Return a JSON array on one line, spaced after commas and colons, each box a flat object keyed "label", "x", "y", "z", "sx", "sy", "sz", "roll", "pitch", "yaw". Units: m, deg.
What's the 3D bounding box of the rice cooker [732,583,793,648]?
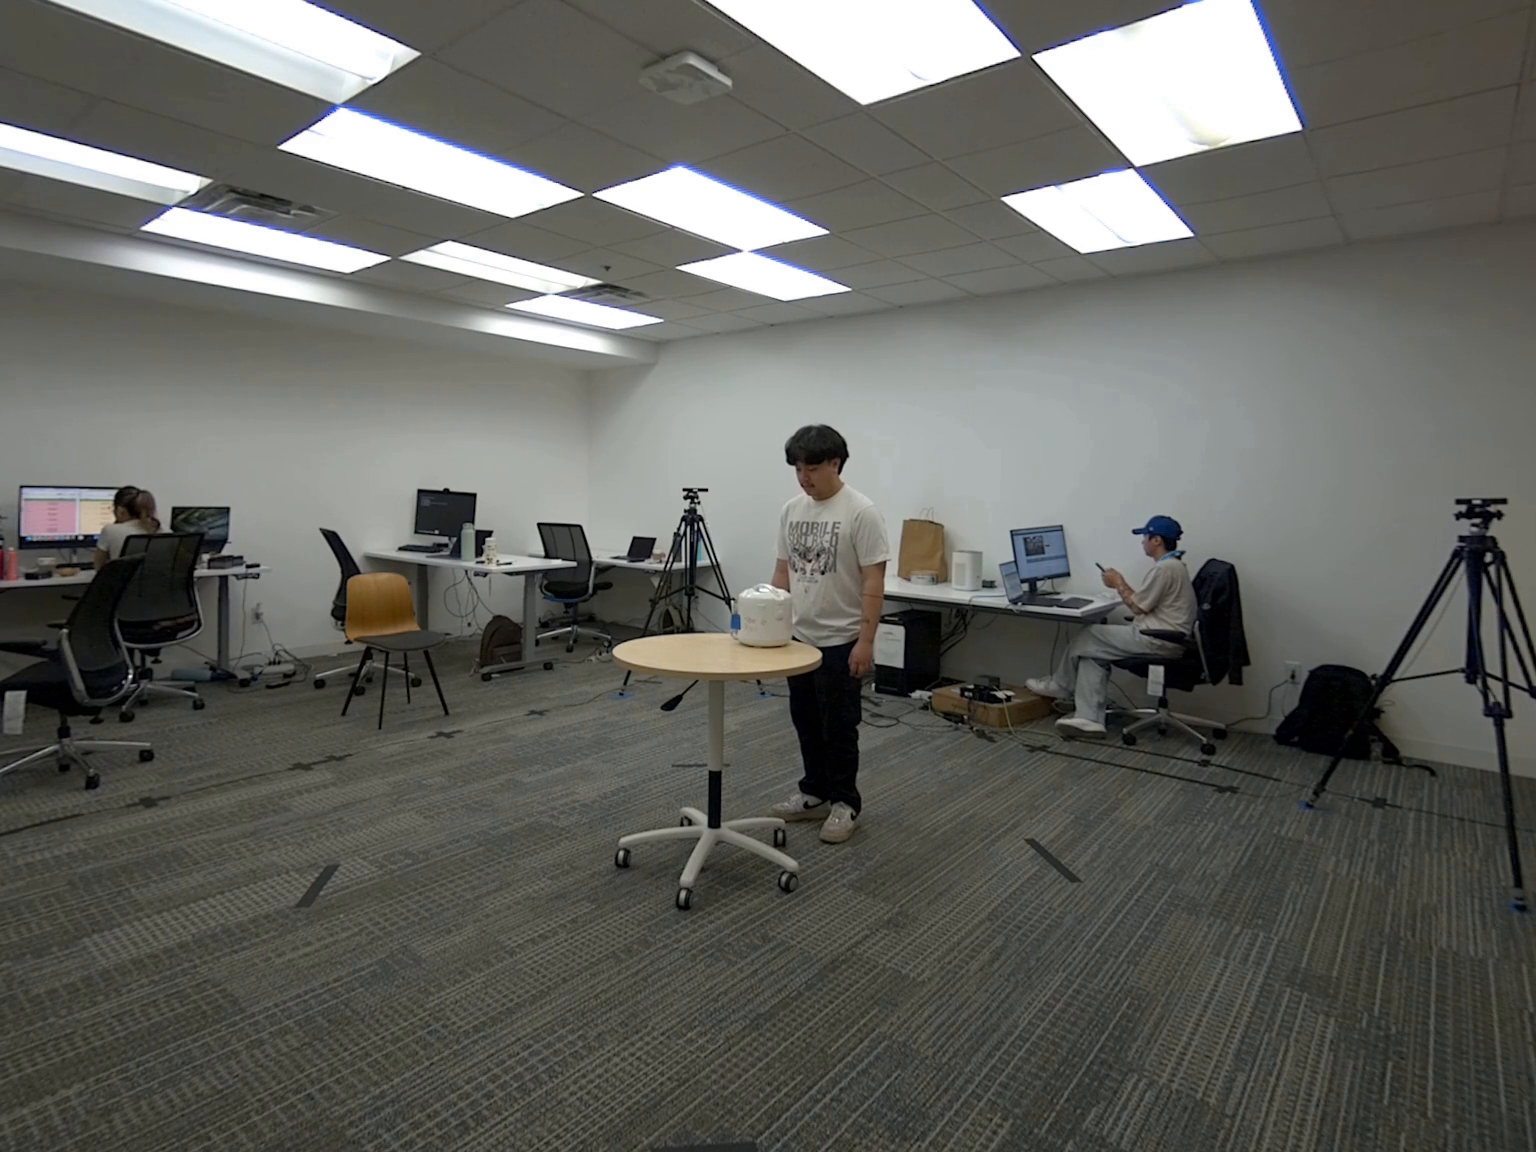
[{"label": "rice cooker", "x": -0.020, "y": 0.143, "z": 3.275, "sx": 0.212, "sy": 0.232, "sz": 0.227, "roll": -2, "pitch": 5, "yaw": -30}]
